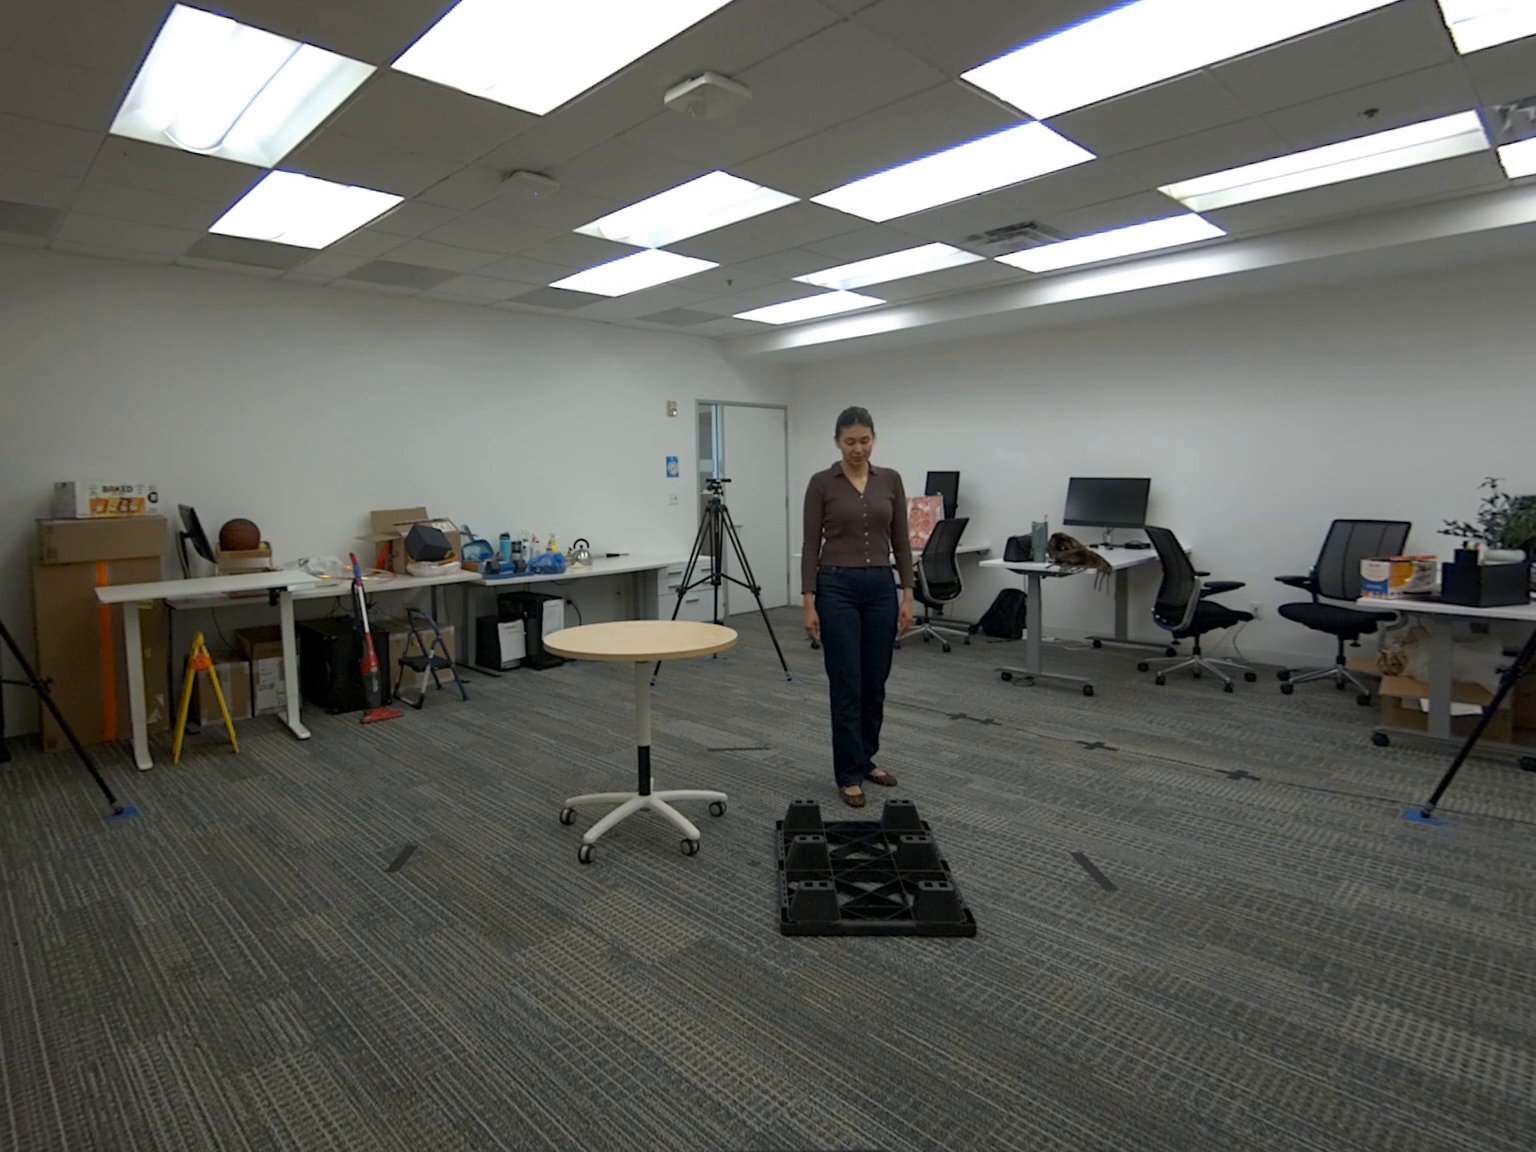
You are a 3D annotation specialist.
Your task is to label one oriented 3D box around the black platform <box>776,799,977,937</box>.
[{"bbox_3d":[0.336,0.986,2.981,0.606,0.142,0.809,-1,7,0],"label":"black platform"}]
